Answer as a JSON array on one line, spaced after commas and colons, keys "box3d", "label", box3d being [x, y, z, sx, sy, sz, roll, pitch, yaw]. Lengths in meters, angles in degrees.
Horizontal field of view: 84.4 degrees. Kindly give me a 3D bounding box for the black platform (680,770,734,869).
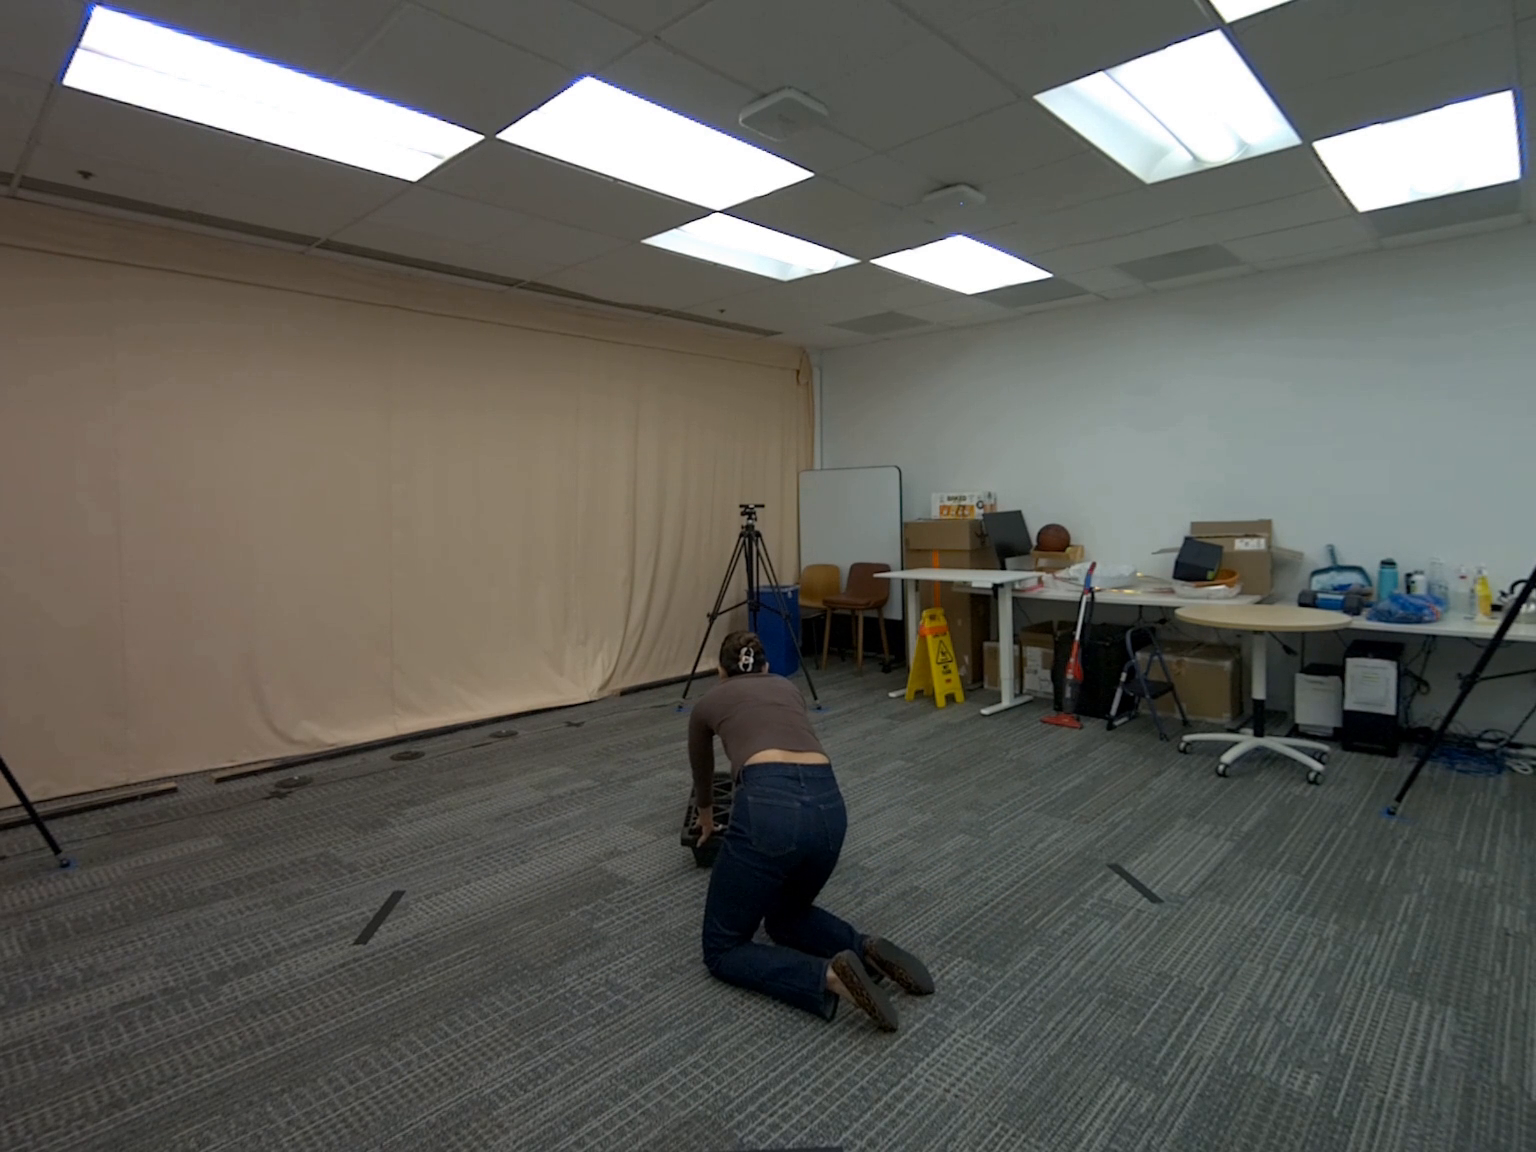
[{"box3d": [-0.037, 1.020, 3.578, 0.607, 0.143, 0.806, -2, 5, 1], "label": "black platform"}]
